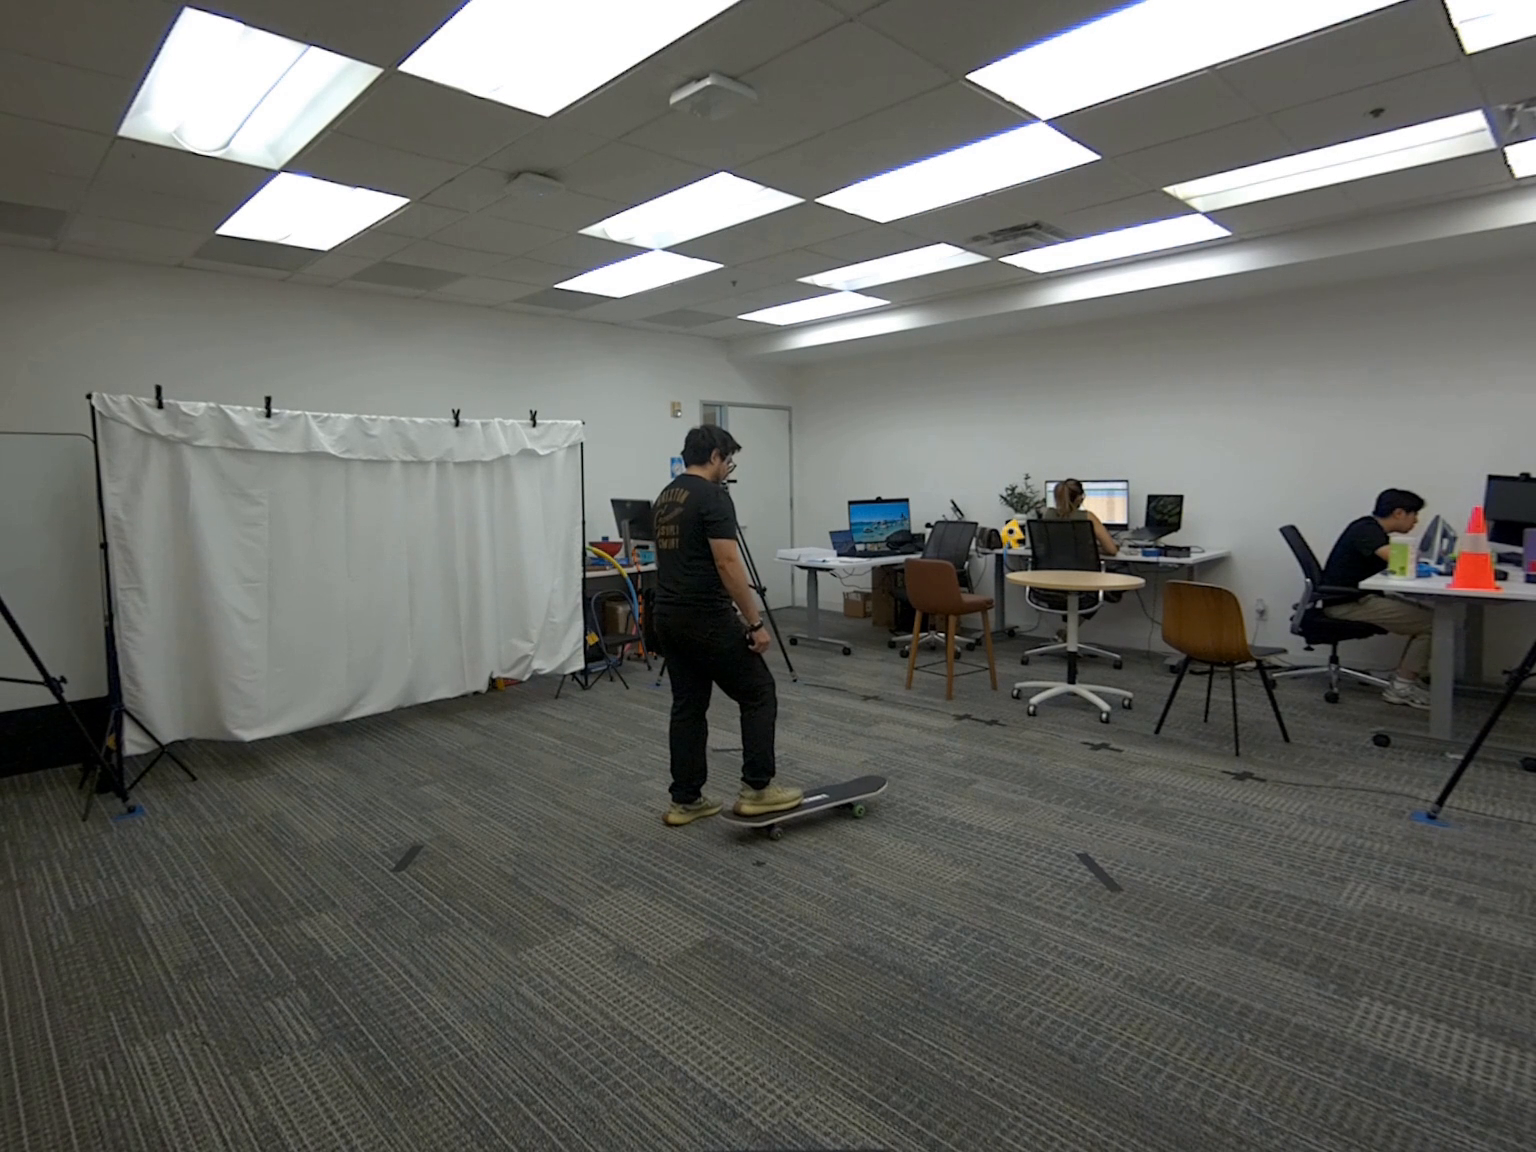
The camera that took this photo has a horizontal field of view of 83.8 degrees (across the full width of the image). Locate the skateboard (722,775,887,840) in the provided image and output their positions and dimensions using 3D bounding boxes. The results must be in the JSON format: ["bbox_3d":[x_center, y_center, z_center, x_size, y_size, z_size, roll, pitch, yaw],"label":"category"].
[{"bbox_3d":[0.158,0.942,3.478,0.768,0.110,0.198,-5,5,-29],"label":"skateboard"}]
